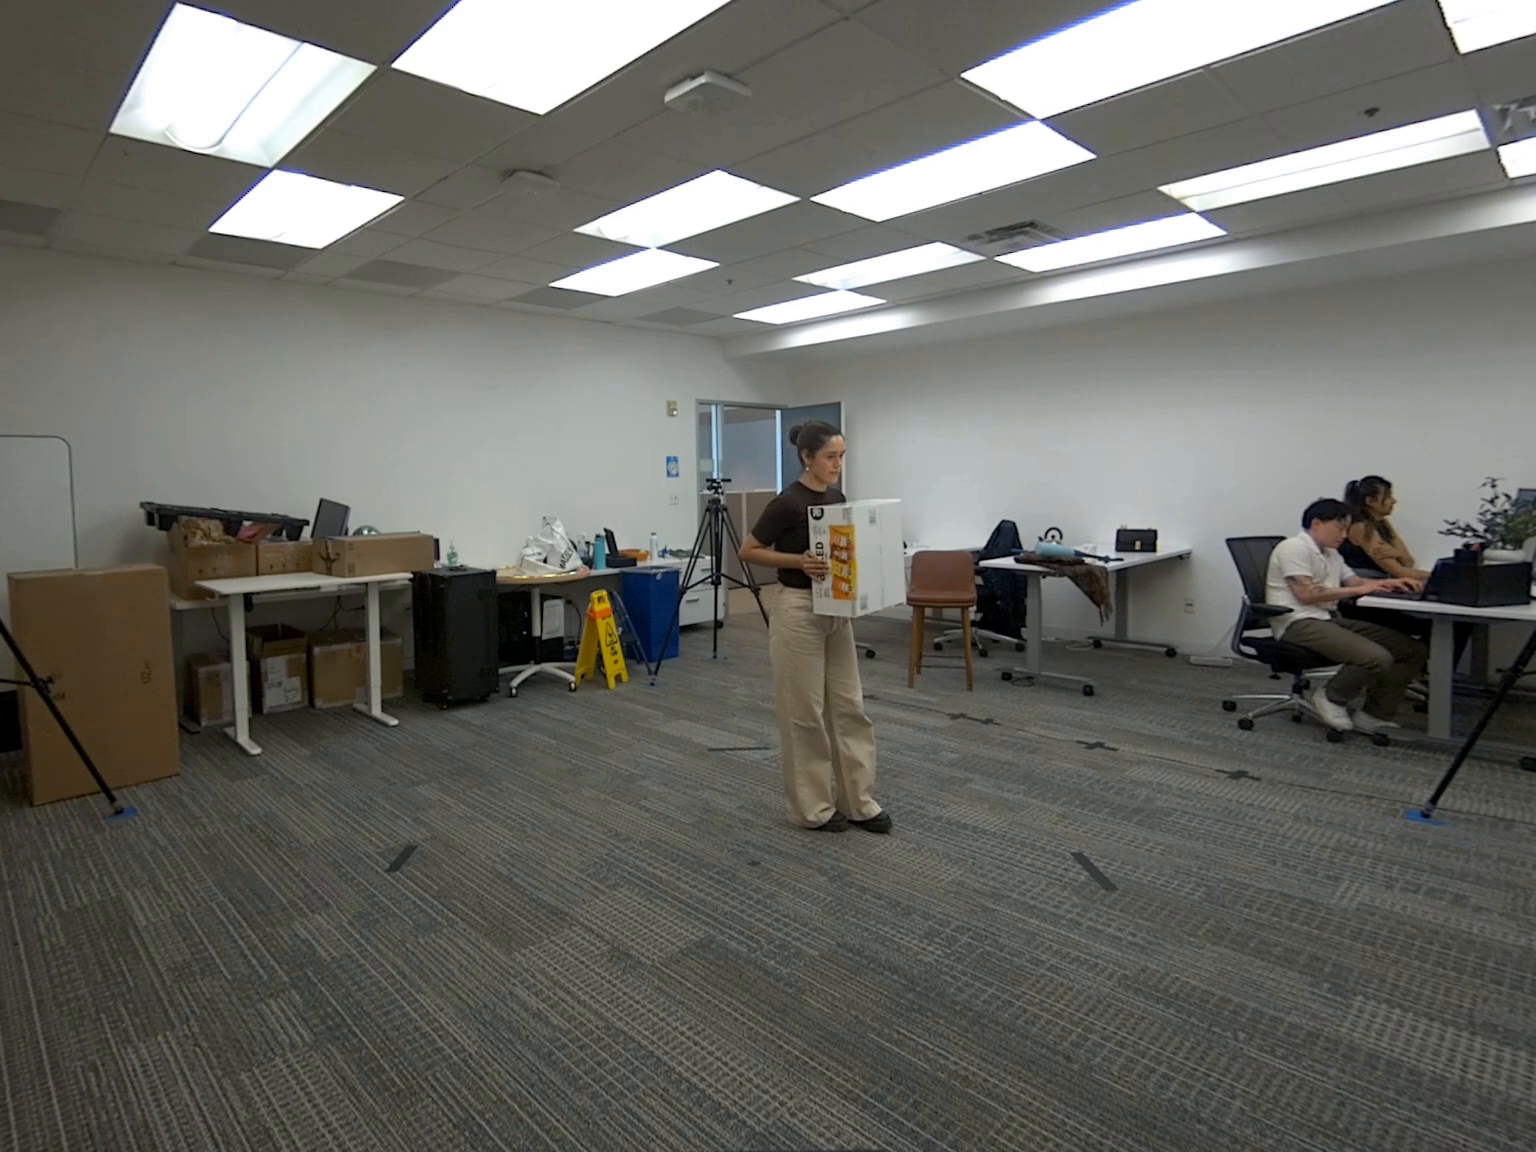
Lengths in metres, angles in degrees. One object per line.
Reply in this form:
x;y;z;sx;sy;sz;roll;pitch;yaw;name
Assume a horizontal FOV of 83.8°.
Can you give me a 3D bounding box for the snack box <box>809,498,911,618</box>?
0.352;-0.080;3.270;0.212;0.403;0.332;1;7;42;snack box
